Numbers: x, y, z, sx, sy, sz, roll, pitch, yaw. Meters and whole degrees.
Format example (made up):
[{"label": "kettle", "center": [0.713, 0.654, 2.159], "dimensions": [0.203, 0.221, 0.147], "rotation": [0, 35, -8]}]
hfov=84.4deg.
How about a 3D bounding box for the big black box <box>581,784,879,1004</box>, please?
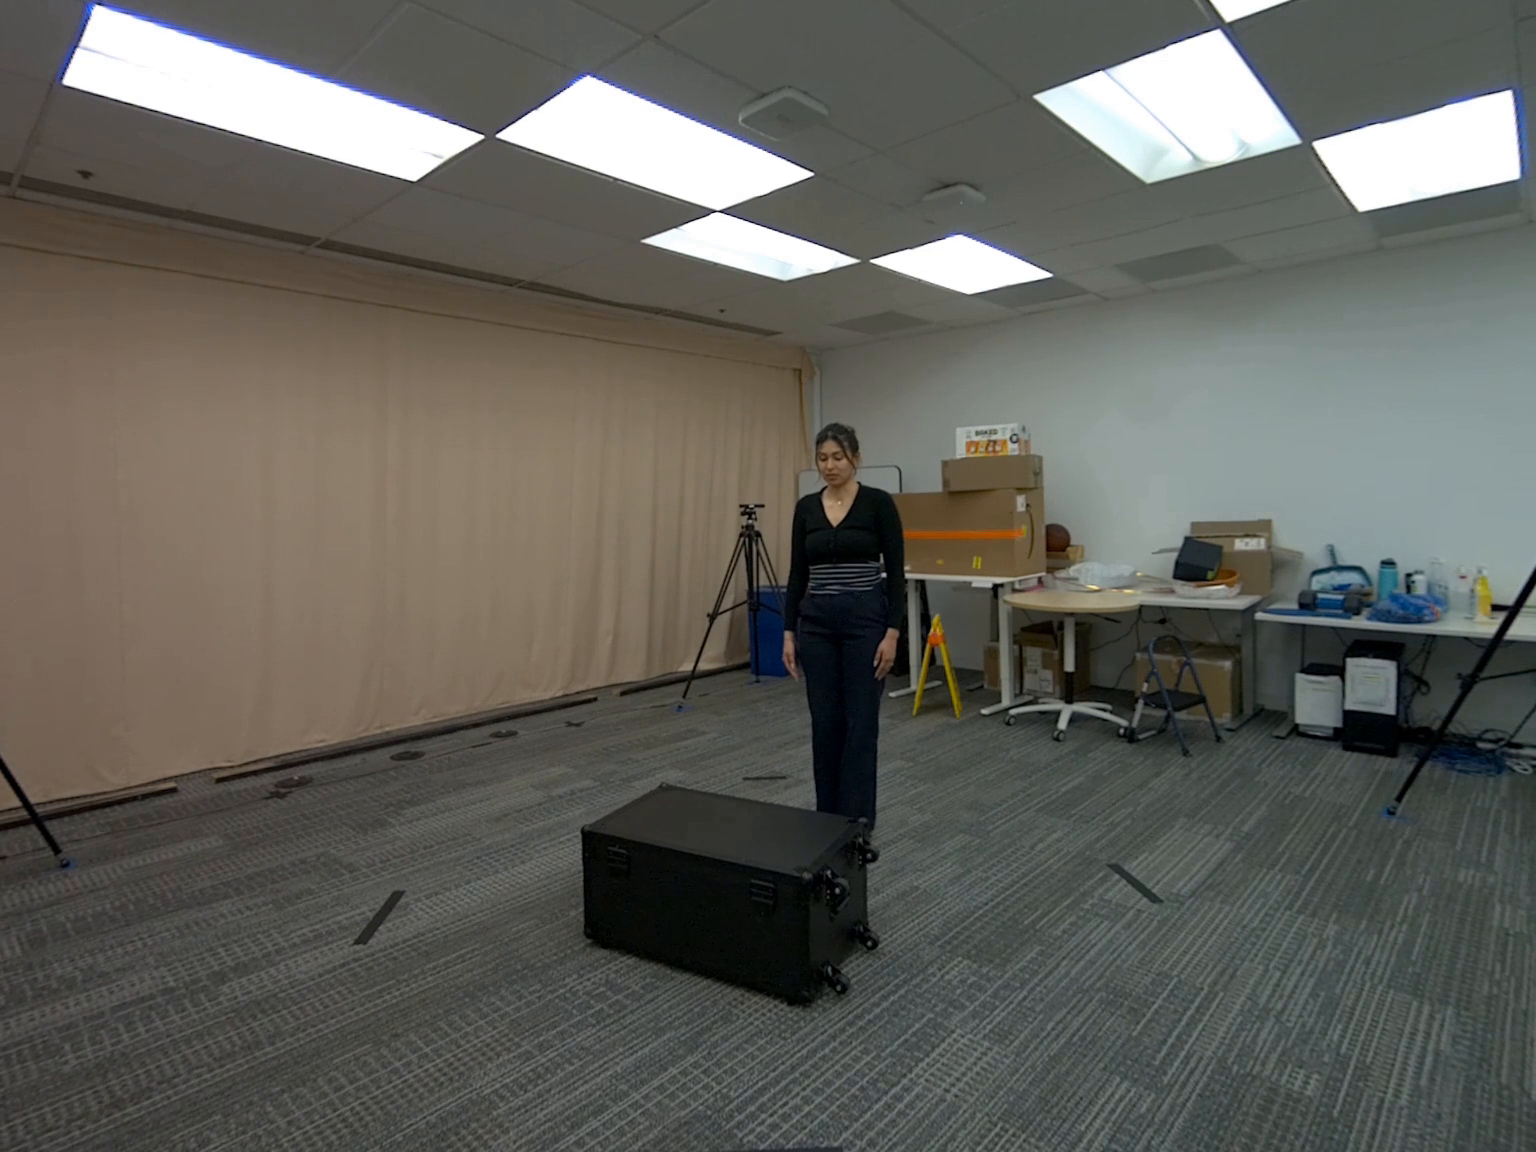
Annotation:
[{"label": "big black box", "center": [-0.106, 0.979, 2.674], "dimensions": [0.885, 0.395, 0.508], "rotation": [1, 4, 28]}]
